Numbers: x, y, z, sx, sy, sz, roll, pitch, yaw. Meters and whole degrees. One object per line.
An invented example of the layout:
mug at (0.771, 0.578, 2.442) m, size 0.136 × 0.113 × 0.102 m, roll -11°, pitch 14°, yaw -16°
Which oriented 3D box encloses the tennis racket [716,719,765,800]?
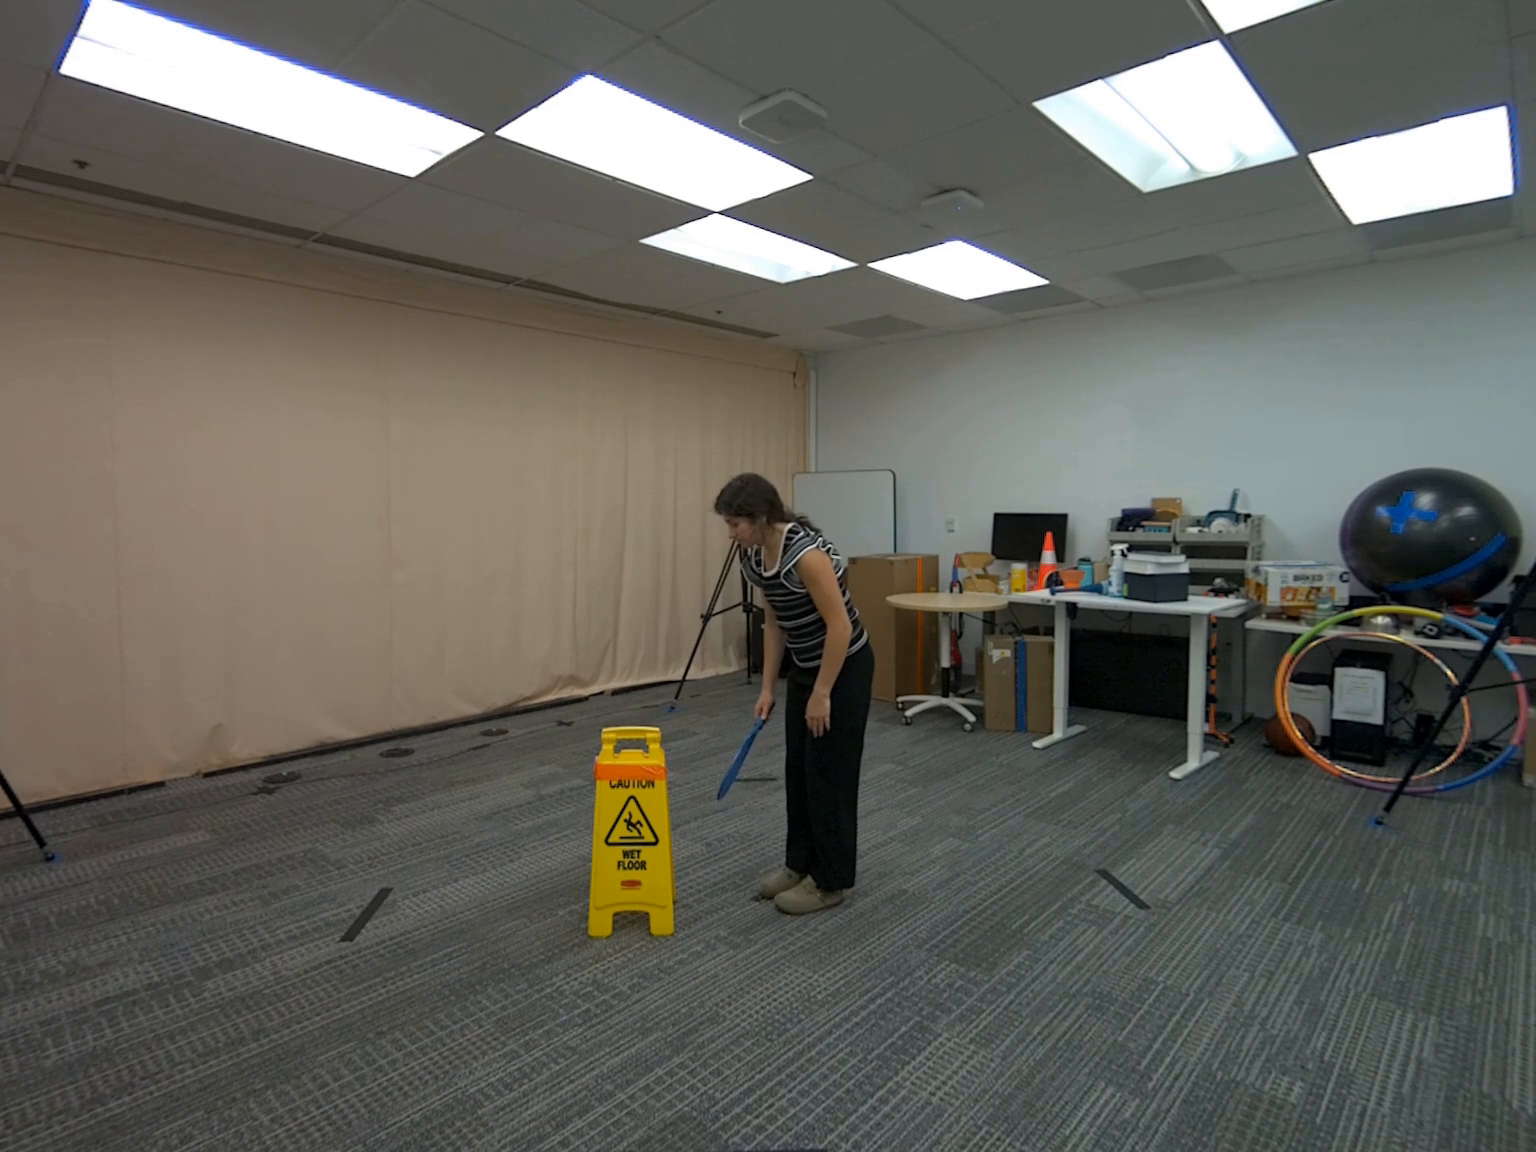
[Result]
tennis racket at (-0.076, 0.602, 2.940) m, size 0.032 × 0.210 × 0.432 m, roll 20°, pitch 49°, yaw 12°
